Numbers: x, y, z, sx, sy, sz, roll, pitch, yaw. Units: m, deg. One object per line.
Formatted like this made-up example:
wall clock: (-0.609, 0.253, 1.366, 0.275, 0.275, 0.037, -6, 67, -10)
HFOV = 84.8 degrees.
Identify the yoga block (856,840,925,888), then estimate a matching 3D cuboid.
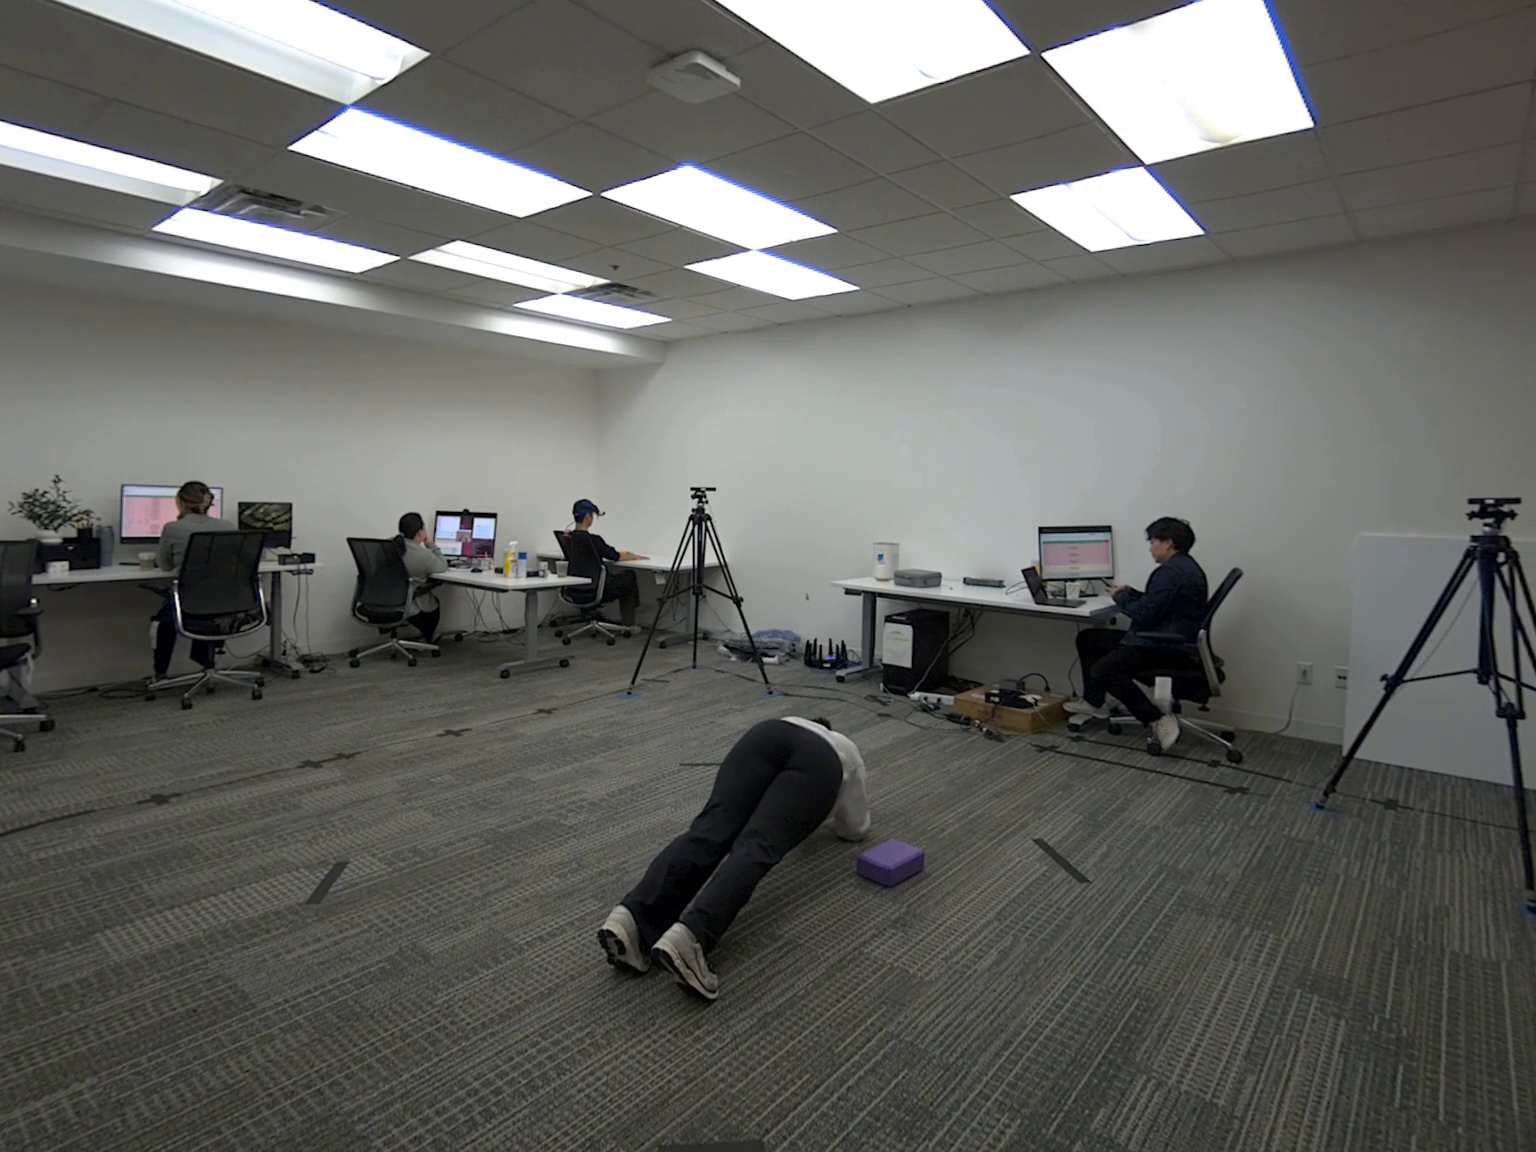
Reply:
yoga block: (0.440, 1.040, 3.108, 0.154, 0.076, 0.222, 7, 8, 43)
